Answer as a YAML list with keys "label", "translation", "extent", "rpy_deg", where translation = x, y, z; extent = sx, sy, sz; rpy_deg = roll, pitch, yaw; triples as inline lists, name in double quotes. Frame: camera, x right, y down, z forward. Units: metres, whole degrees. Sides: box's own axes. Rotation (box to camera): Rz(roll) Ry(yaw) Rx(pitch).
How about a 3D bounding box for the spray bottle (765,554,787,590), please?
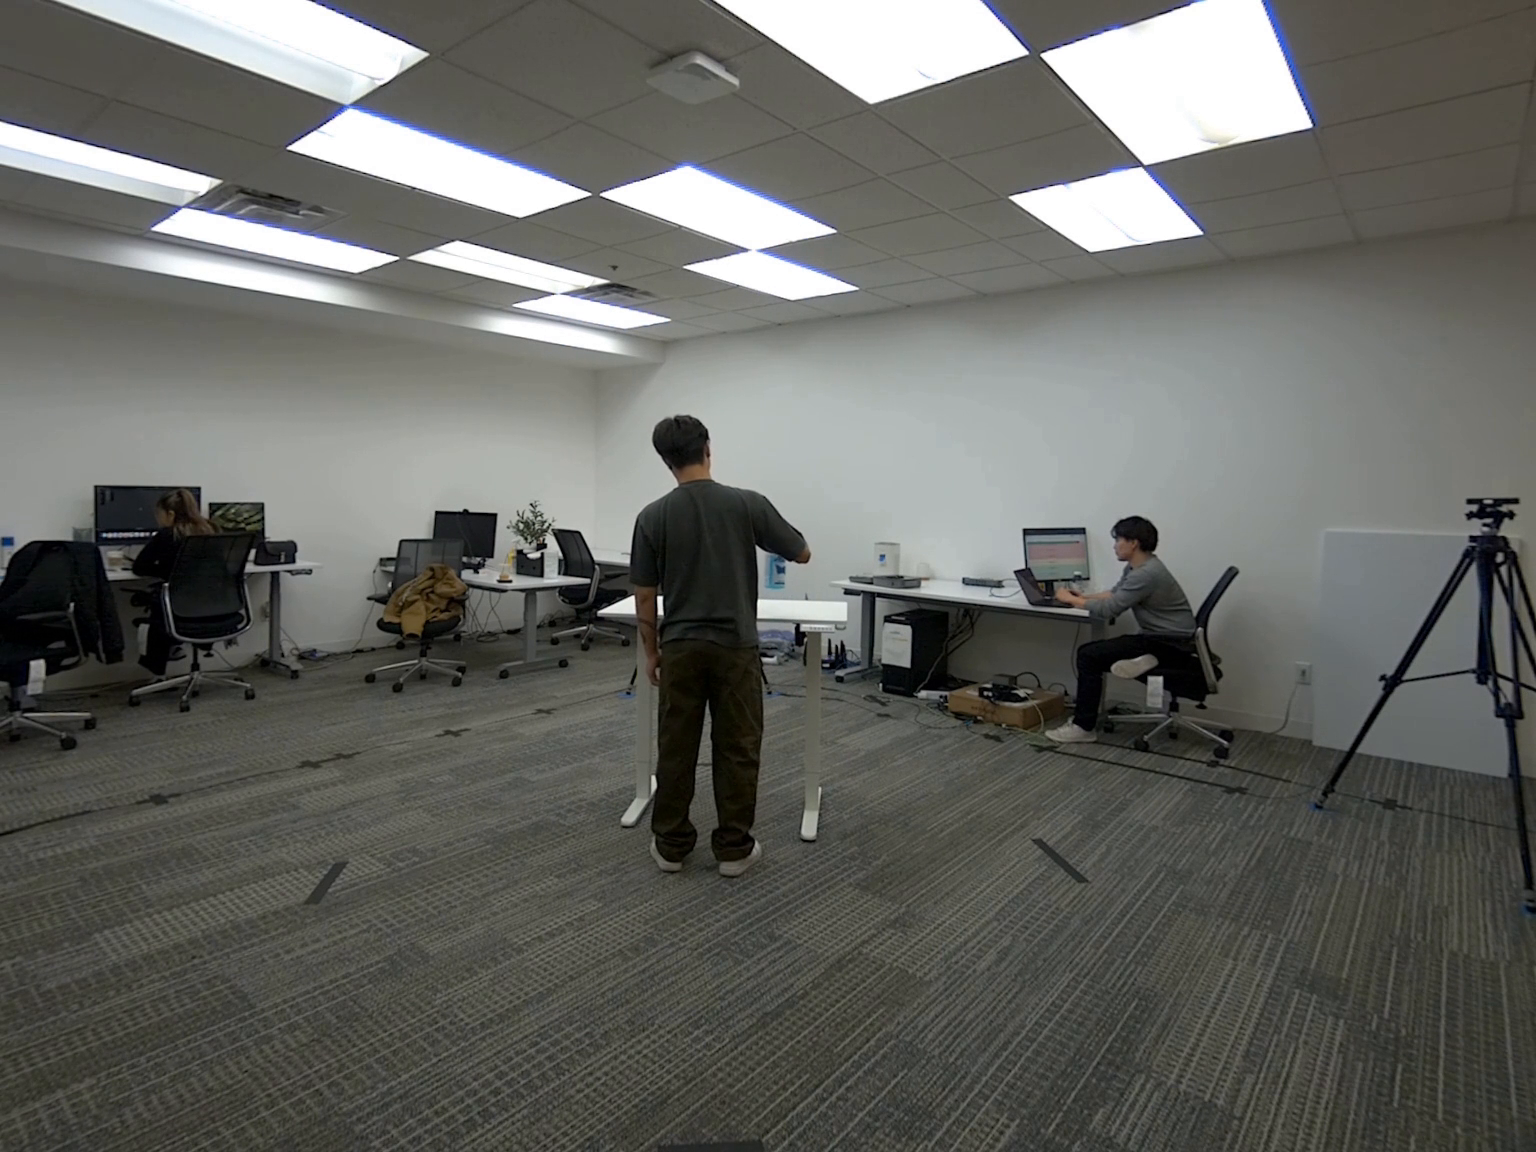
- label: "spray bottle"
  translation: [0.025, -0.095, 3.424]
  extent: [0.089, 0.298, 0.087]
  rpy_deg: [2, -4, 27]
